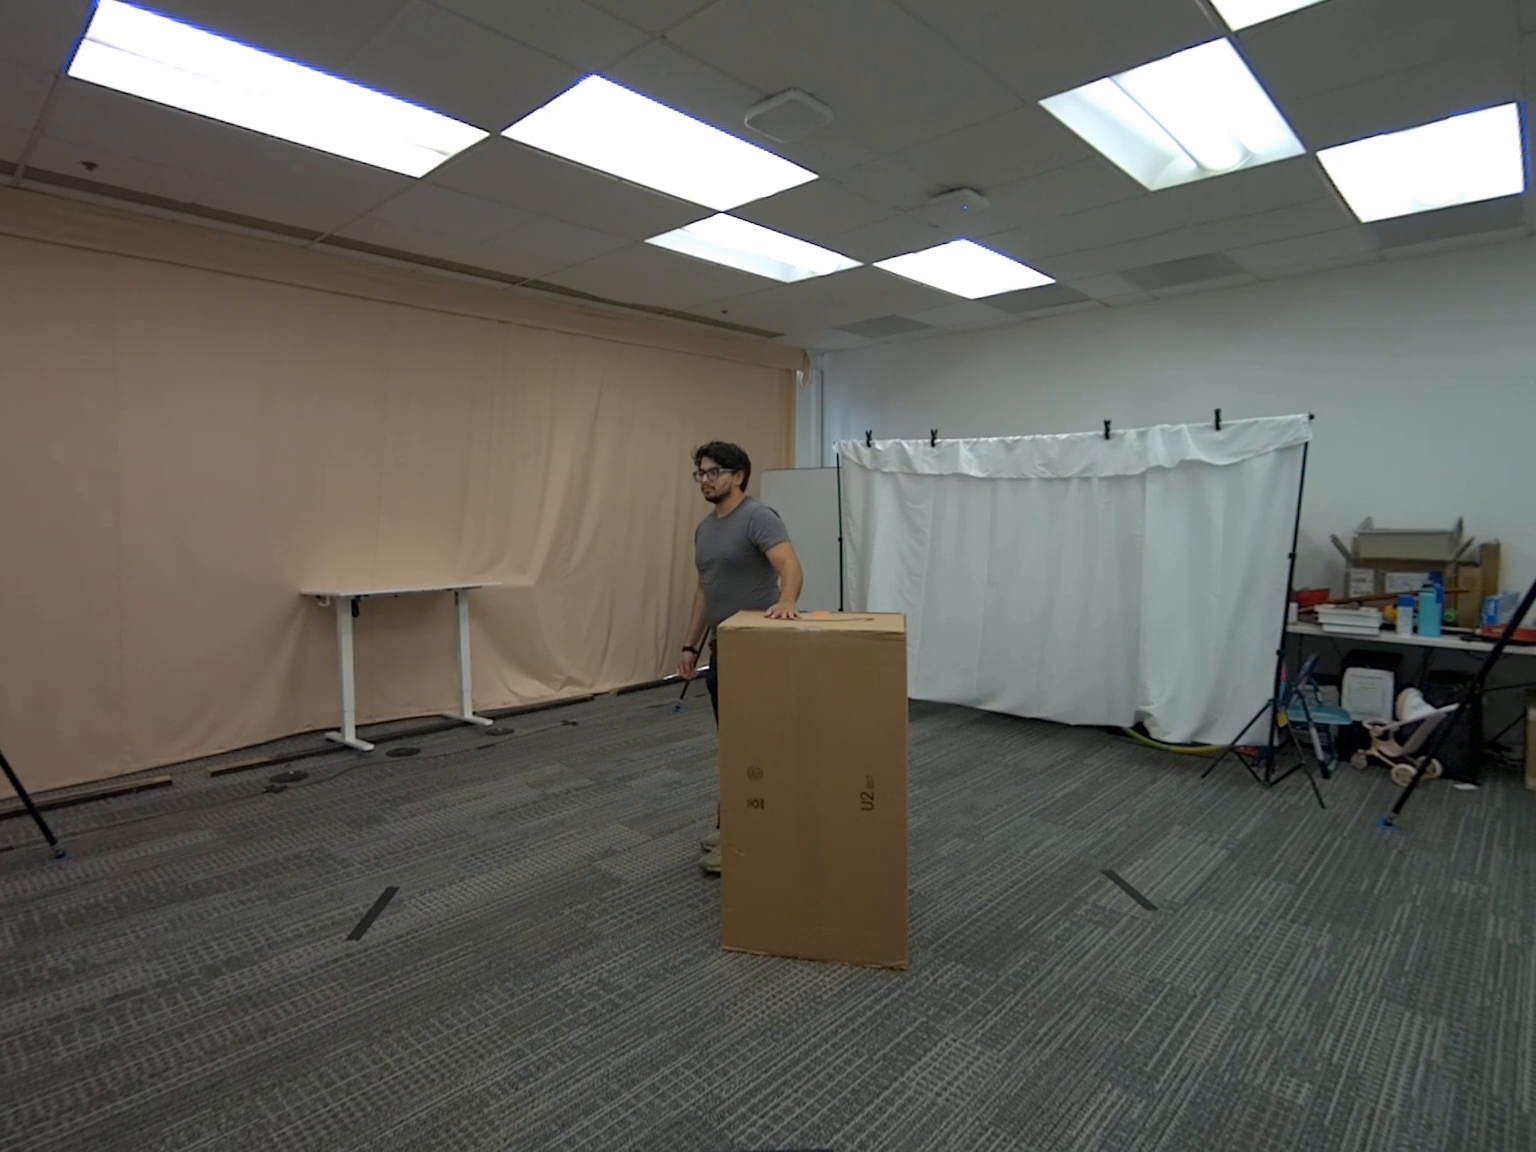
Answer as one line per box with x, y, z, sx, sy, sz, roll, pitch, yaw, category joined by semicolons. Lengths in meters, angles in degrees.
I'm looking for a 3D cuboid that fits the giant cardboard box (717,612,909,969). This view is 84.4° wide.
0.168;0.649;2.765;0.585;1.024;0.421;0;3;11;giant cardboard box
